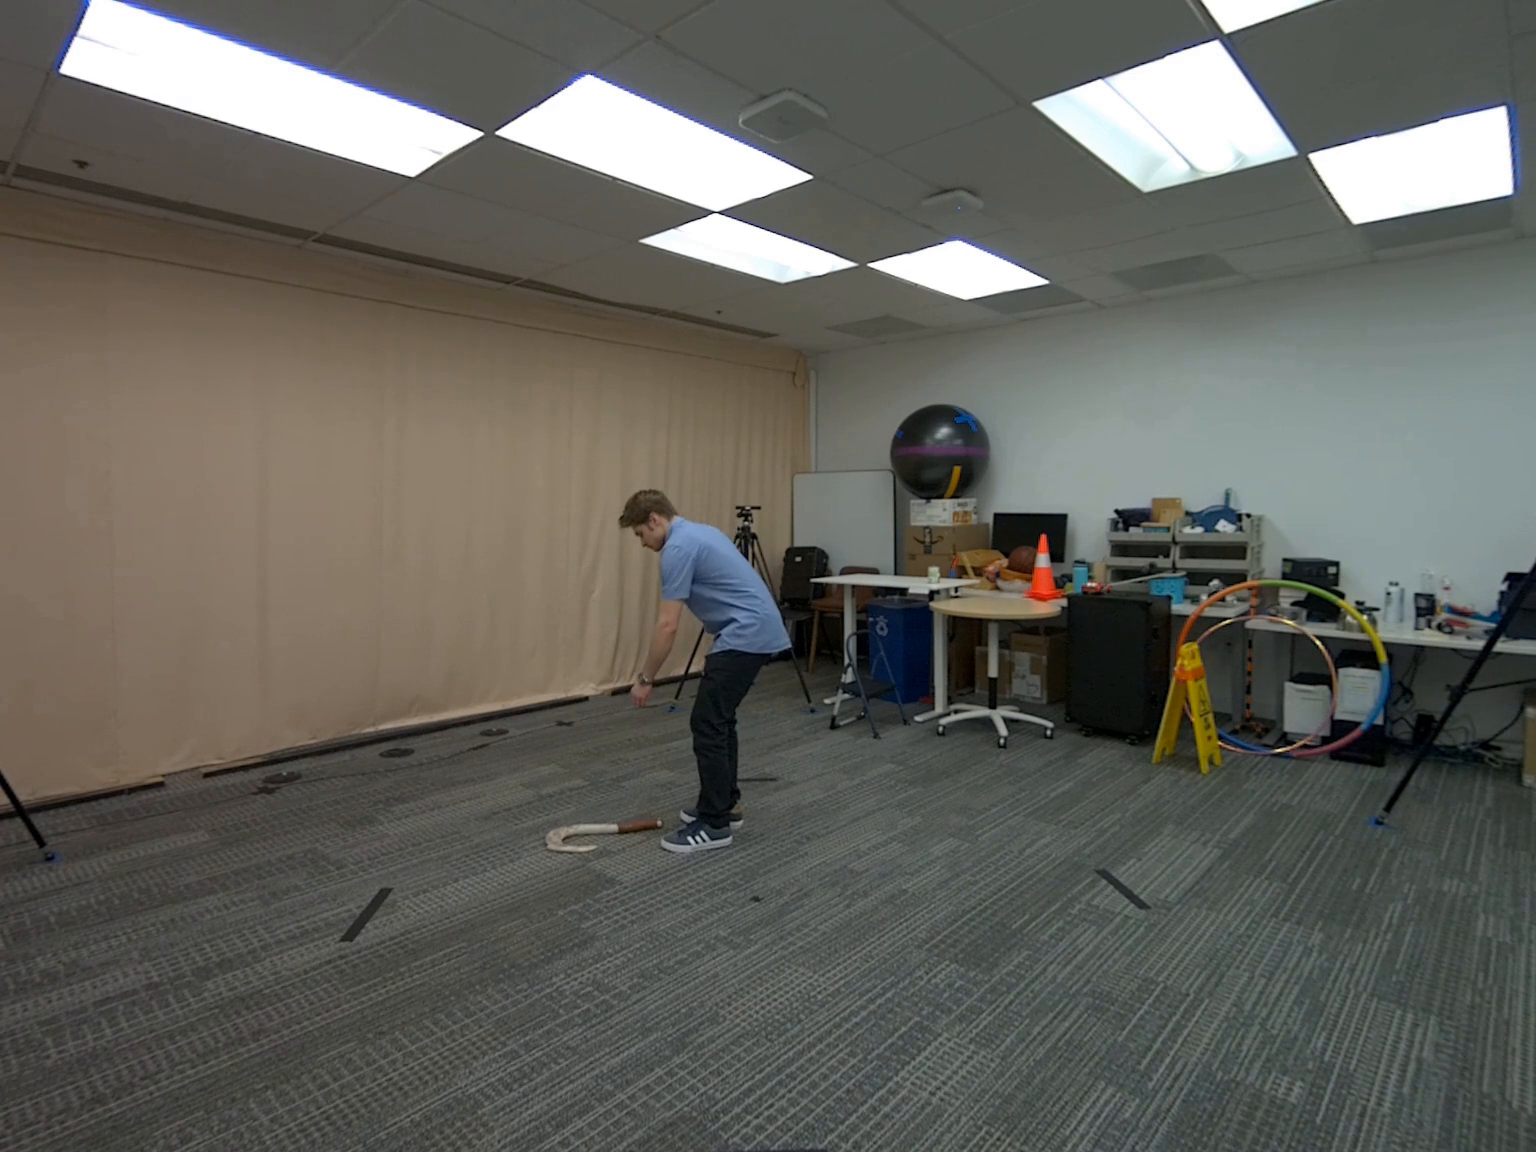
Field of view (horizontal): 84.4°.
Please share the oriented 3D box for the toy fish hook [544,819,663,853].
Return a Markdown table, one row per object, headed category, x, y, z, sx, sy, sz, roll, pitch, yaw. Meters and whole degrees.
| category | x | y | z | sx | sy | sz | roll | pitch | yaw |
| --- | --- | --- | --- | --- | --- | --- | --- | --- | --- |
| toy fish hook | -0.677 | 1.091 | 3.534 | 0.498 | 0.048 | 0.230 | -3 | 13 | -18 |
